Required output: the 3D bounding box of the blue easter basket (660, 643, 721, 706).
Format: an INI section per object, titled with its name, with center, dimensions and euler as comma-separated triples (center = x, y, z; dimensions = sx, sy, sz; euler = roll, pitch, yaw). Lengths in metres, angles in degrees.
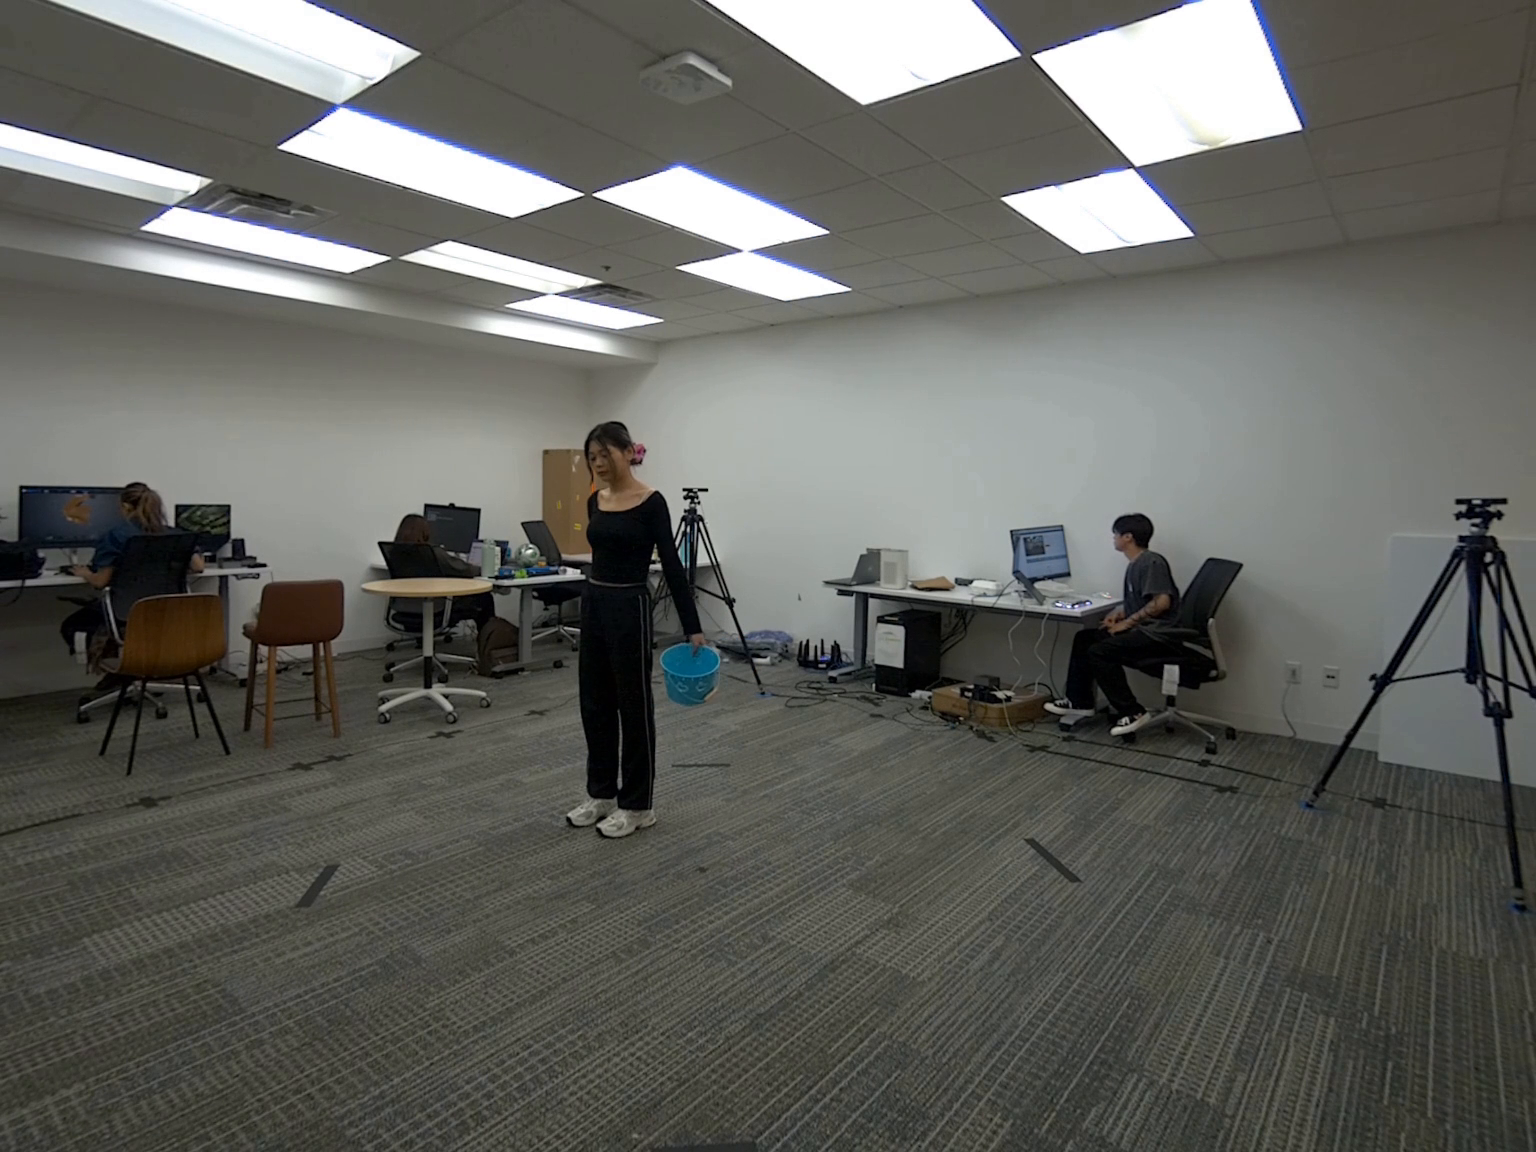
[blue easter basket]
center = -0.317, 0.393, 3.322
dimensions = 0.243, 0.152, 0.249
euler = 1, 26, -2
